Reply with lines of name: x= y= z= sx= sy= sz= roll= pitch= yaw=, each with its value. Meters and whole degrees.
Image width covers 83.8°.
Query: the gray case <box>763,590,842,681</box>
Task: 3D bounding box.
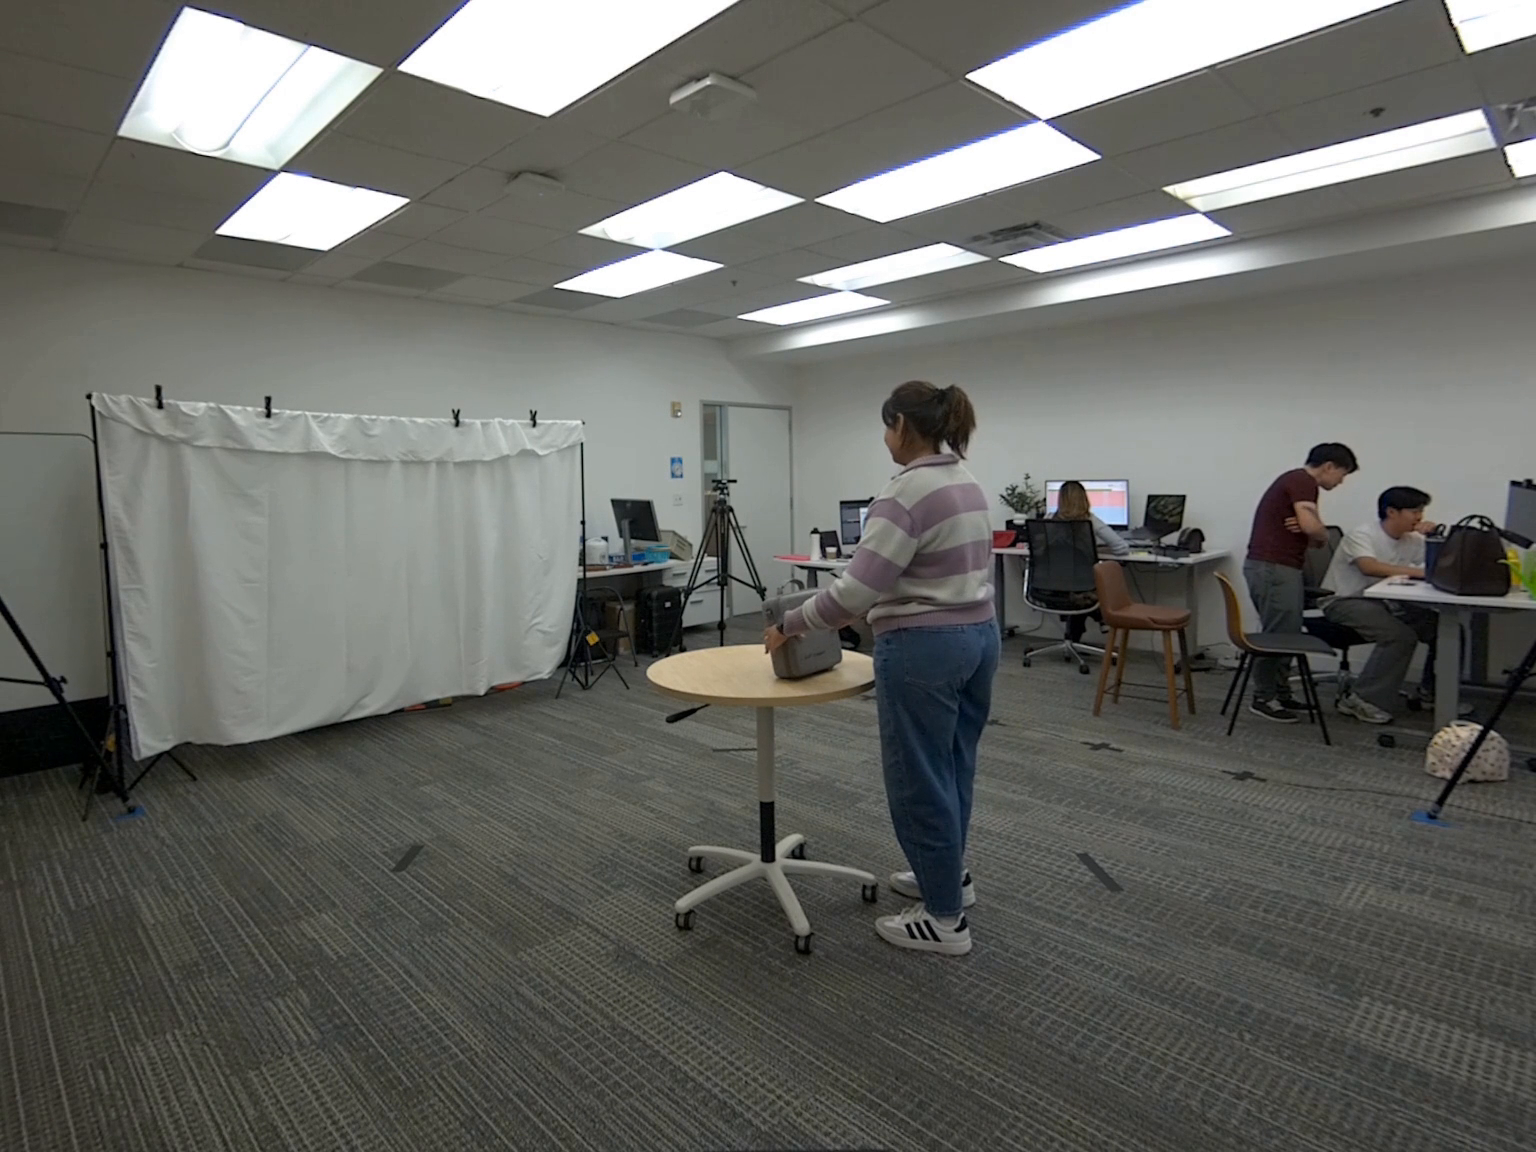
gray case: x=0.115 y=0.171 z=2.692 sx=0.107 sy=0.262 sz=0.250 roll=-12 pitch=-5 yaw=42
